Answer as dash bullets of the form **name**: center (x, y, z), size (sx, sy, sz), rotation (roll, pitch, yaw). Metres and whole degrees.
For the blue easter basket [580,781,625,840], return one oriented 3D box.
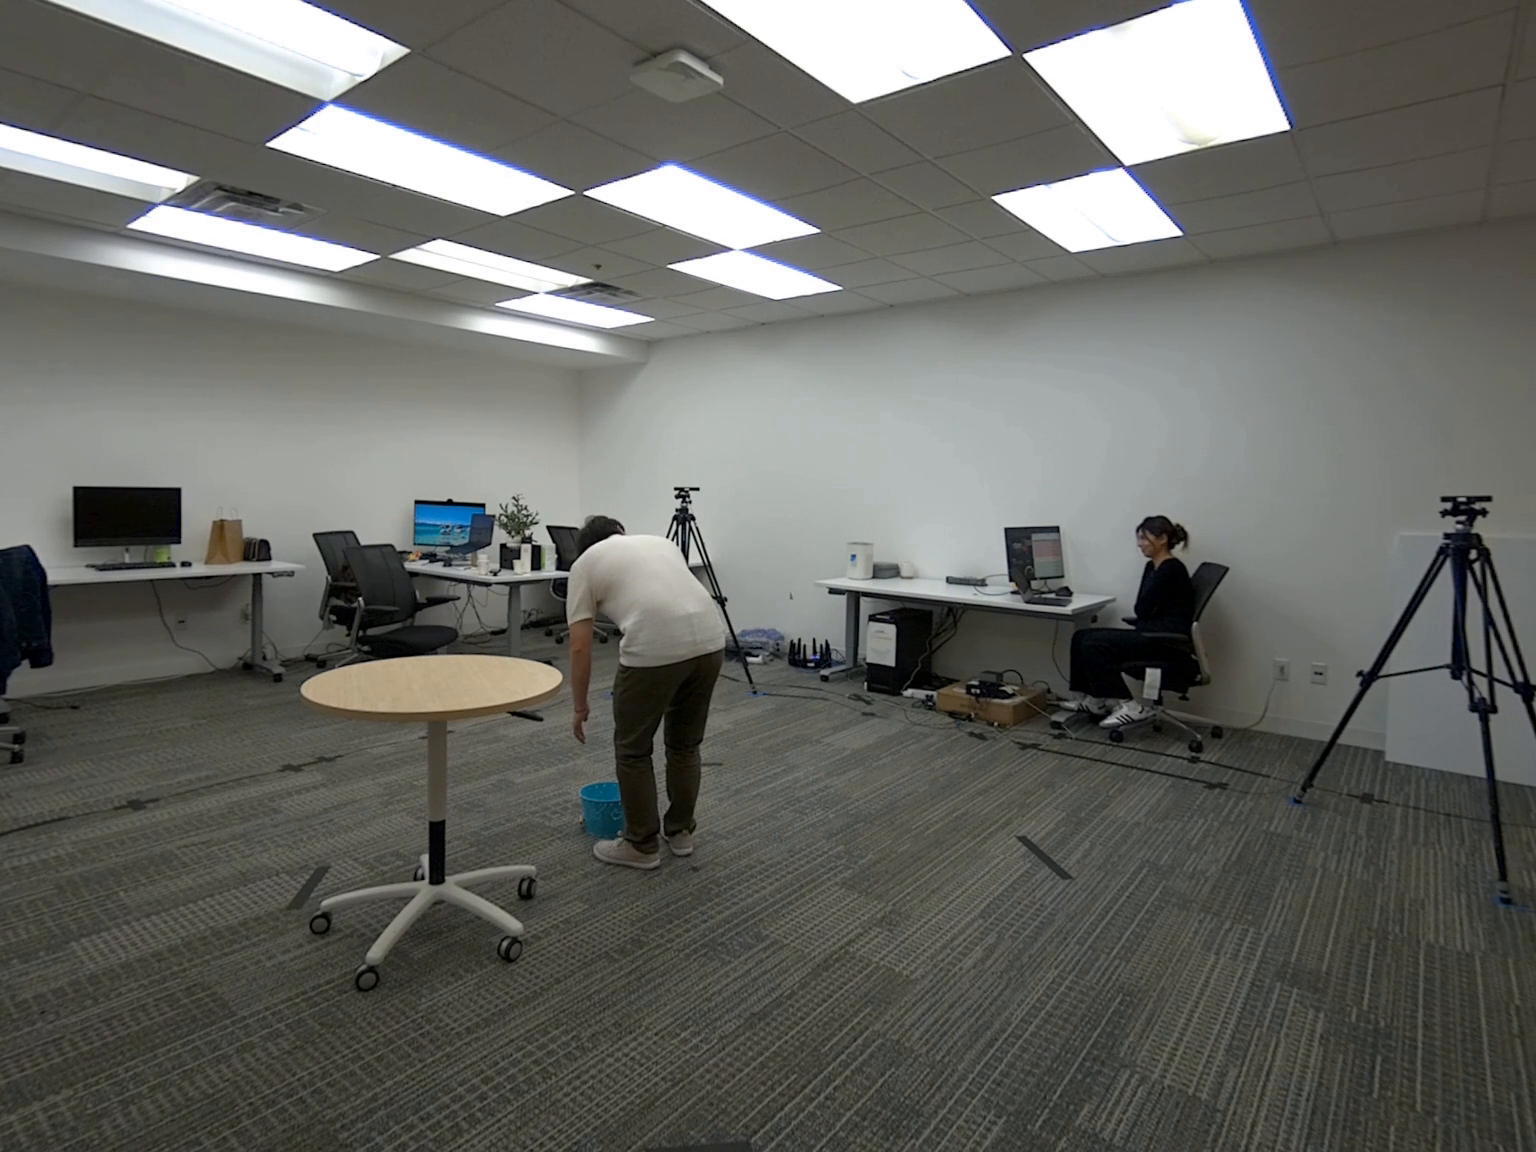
- **blue easter basket**: center (-0.667, 0.944, 3.463), size (0.243, 0.155, 0.245), rotation (1, 4, -2)
